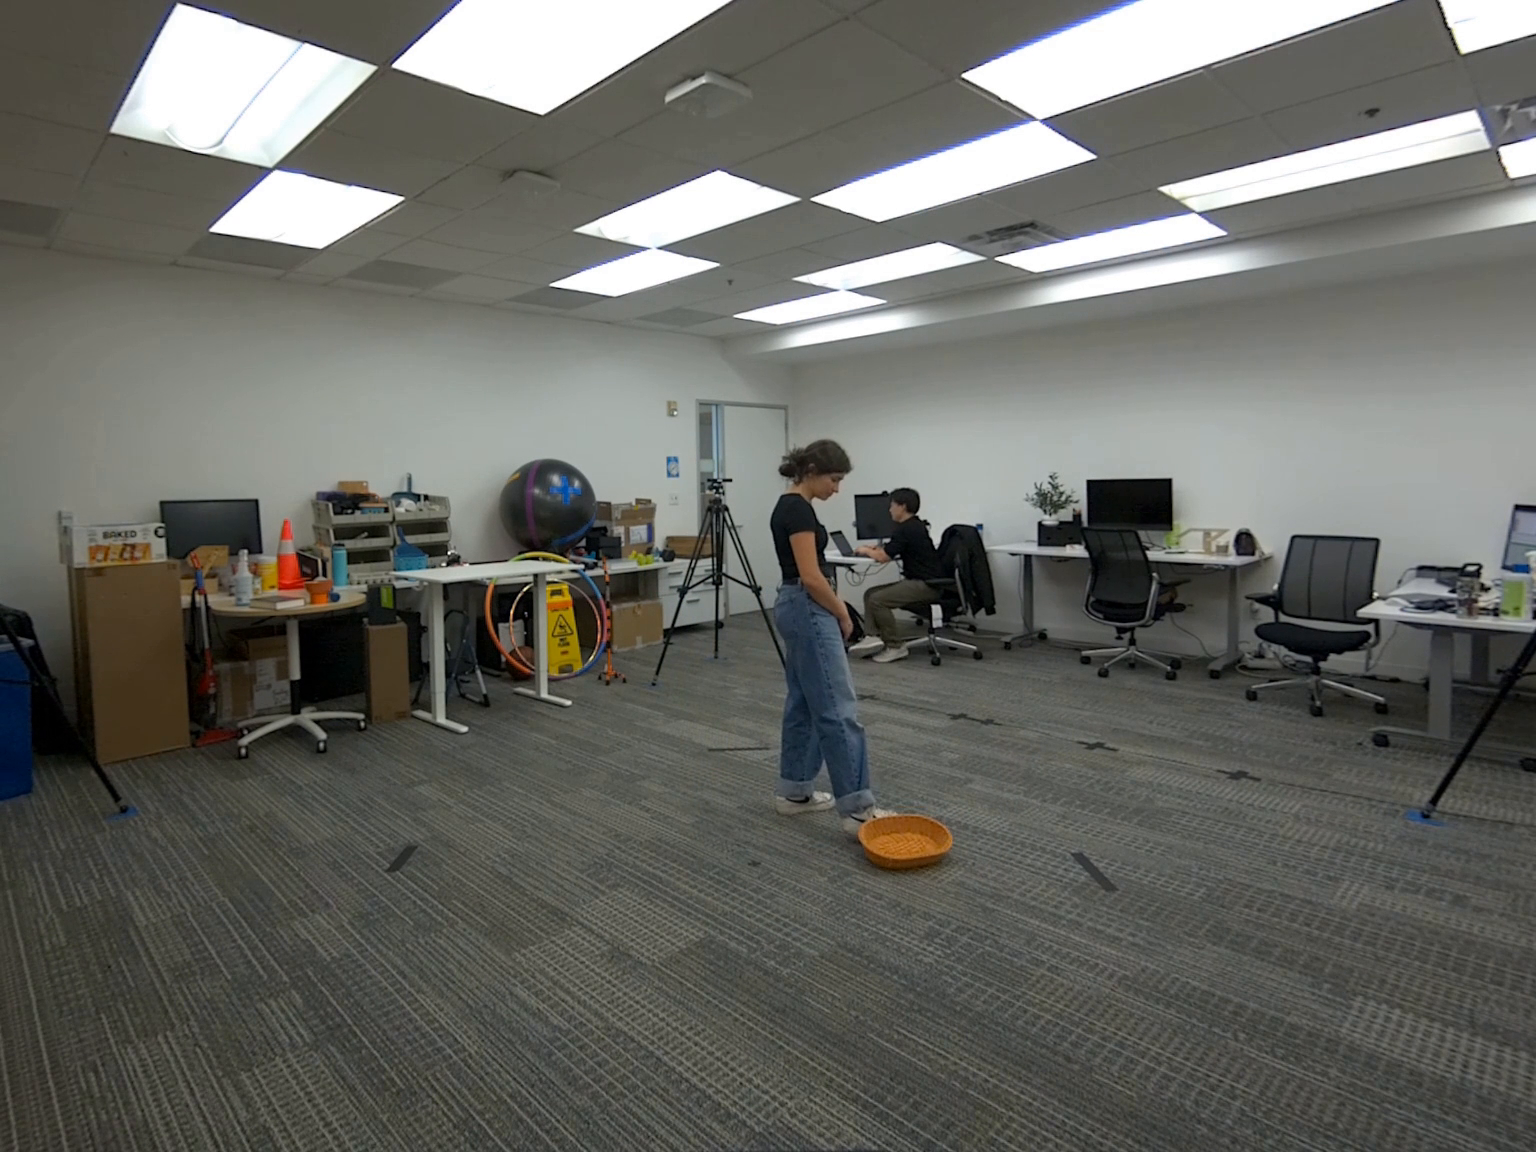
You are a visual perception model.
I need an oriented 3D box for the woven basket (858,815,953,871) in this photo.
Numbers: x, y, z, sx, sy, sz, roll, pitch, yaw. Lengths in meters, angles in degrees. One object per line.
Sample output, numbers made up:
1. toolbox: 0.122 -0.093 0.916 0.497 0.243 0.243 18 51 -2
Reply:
1. woven basket: 0.504 0.983 3.123 0.345 0.072 0.259 -3 18 -15
